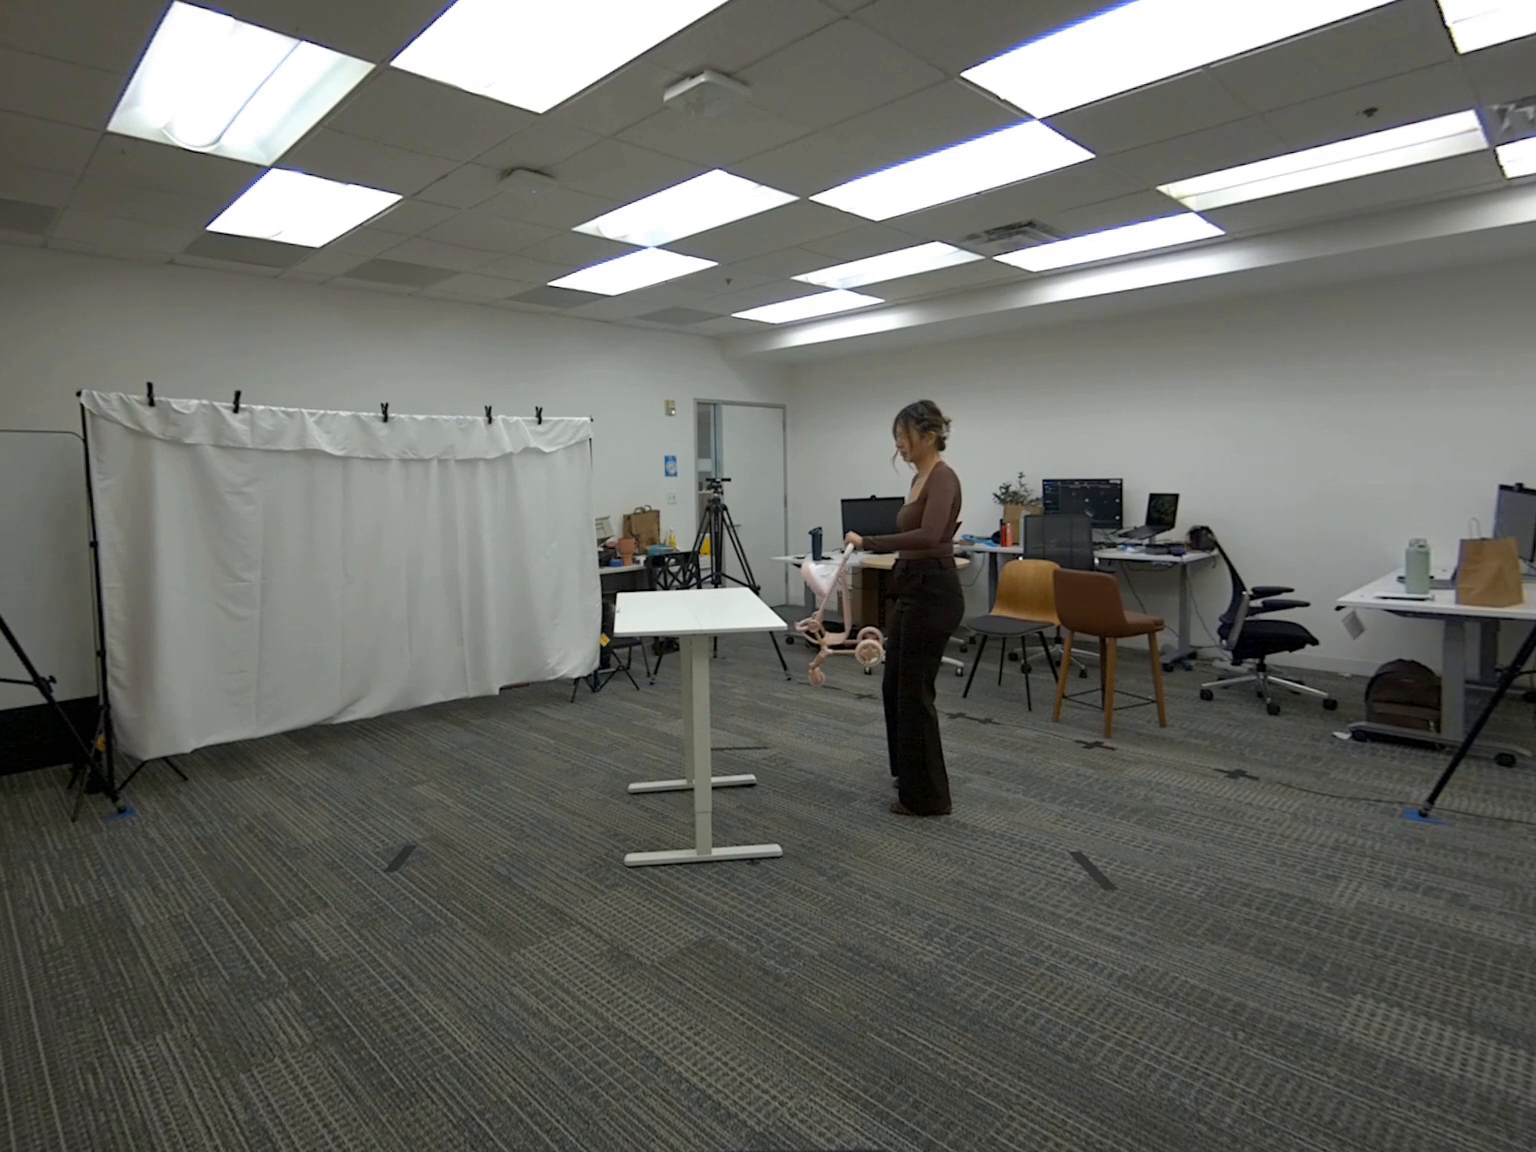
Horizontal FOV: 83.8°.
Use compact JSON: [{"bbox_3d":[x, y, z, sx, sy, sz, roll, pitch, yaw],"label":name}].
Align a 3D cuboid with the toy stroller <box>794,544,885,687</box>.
[{"bbox_3d":[0.265,0.157,3.435,0.345,0.533,0.279,-15,4,14],"label":"toy stroller"}]
